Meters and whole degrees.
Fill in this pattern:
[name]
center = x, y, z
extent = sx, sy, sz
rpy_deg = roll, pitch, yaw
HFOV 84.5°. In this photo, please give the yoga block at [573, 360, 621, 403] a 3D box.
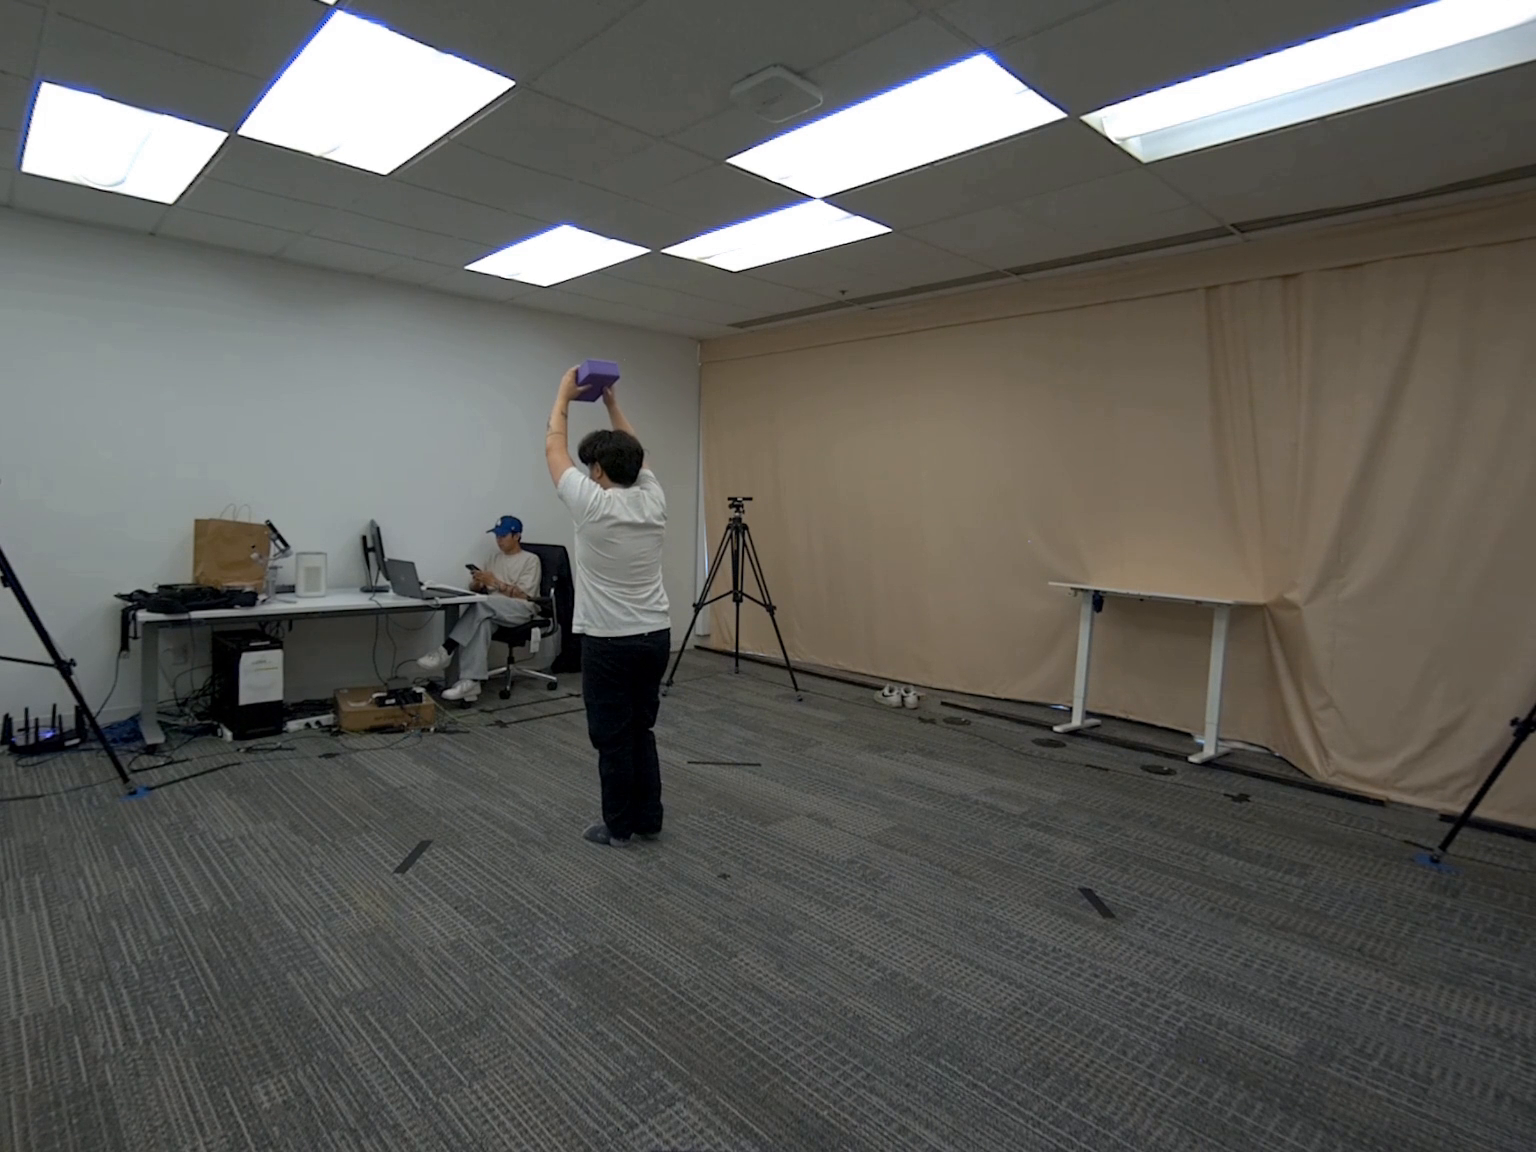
[yoga block]
center = -0.732, -0.799, 3.459
extent = 0.145, 0.077, 0.232
rpy_deg = -3, -16, -42
